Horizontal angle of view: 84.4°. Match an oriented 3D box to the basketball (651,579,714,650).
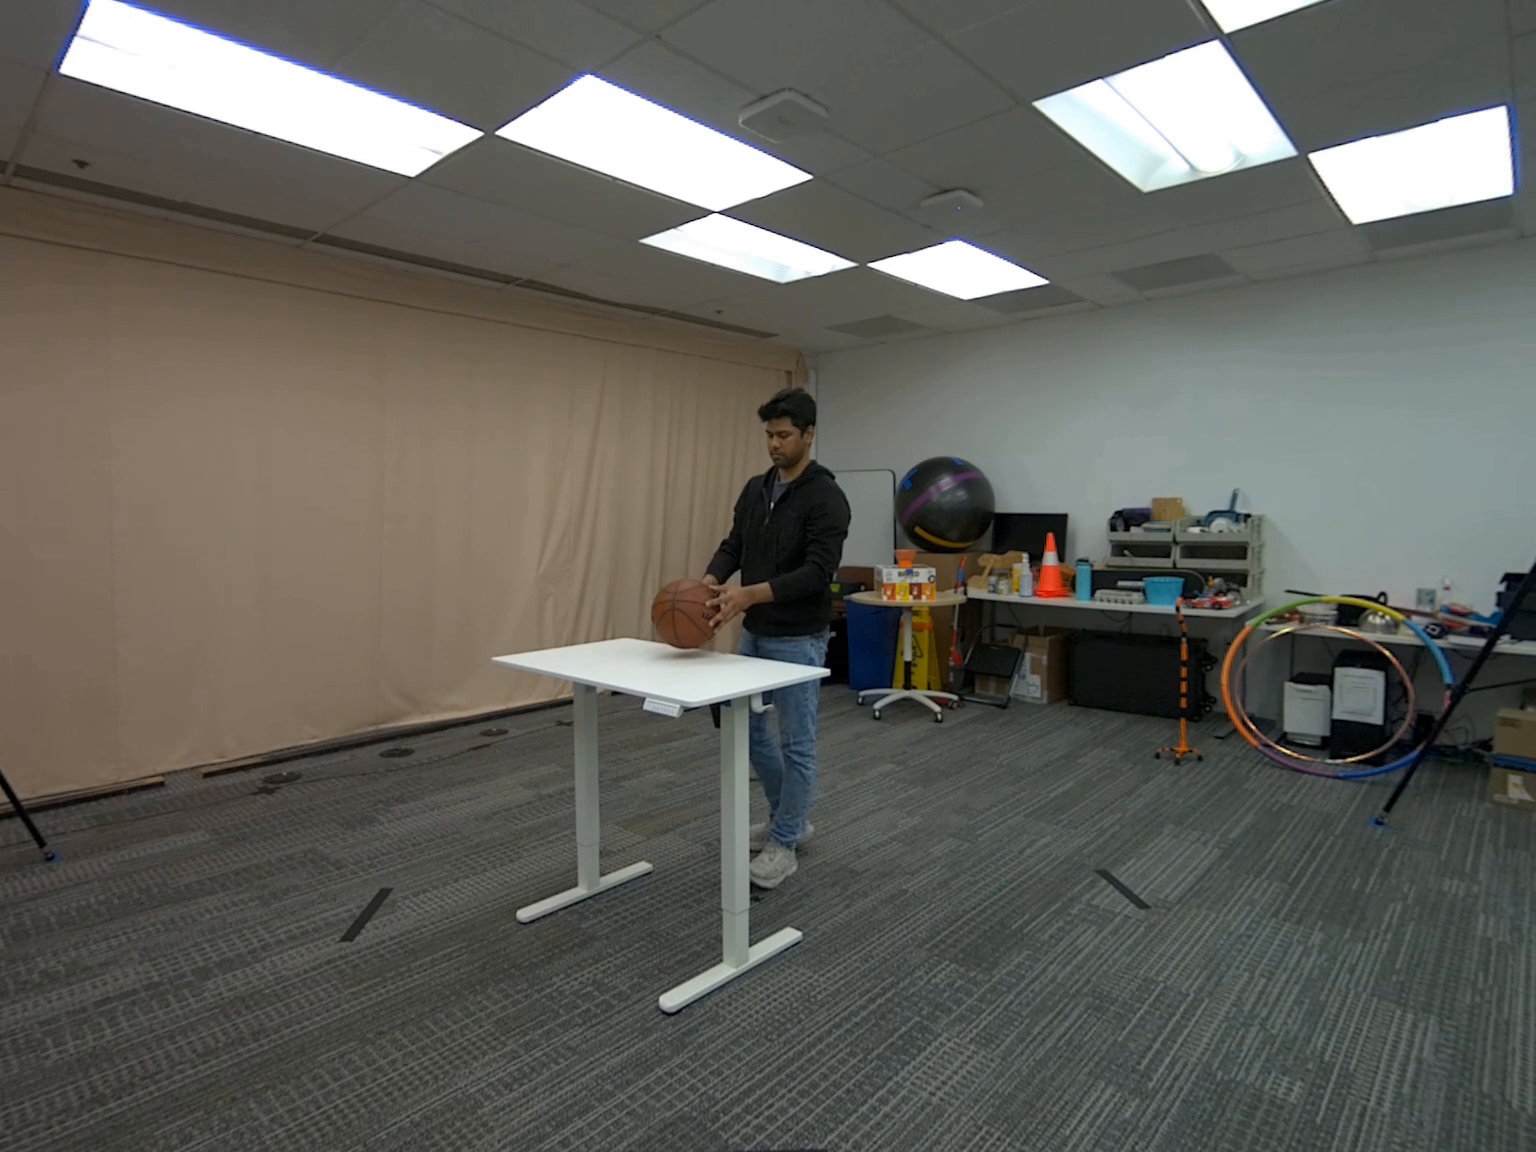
[{"bbox_3d":[-0.266,0.127,2.865,0.236,0.235,0.237,0,4,-2],"label":"basketball"}]
